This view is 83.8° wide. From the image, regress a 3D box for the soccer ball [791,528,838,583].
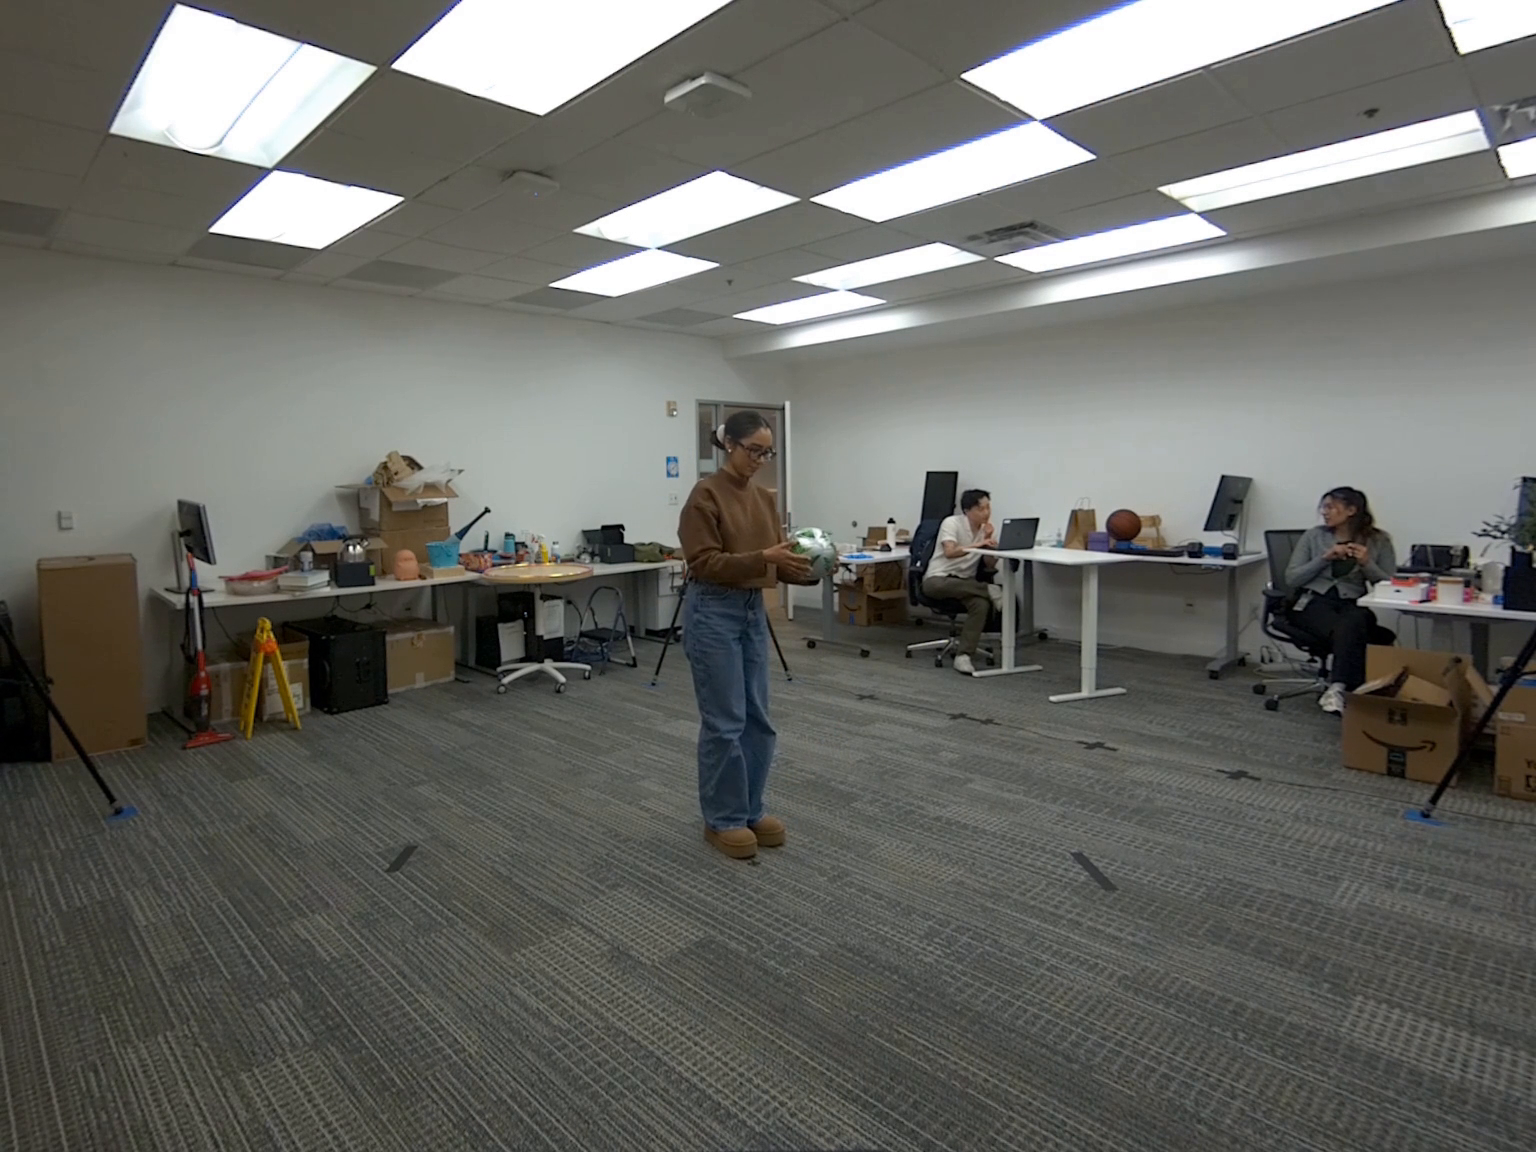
[{"bbox_3d":[0.159,-0.078,3.049,0.187,0.187,0.188,-1,5,-2],"label":"soccer ball"}]
